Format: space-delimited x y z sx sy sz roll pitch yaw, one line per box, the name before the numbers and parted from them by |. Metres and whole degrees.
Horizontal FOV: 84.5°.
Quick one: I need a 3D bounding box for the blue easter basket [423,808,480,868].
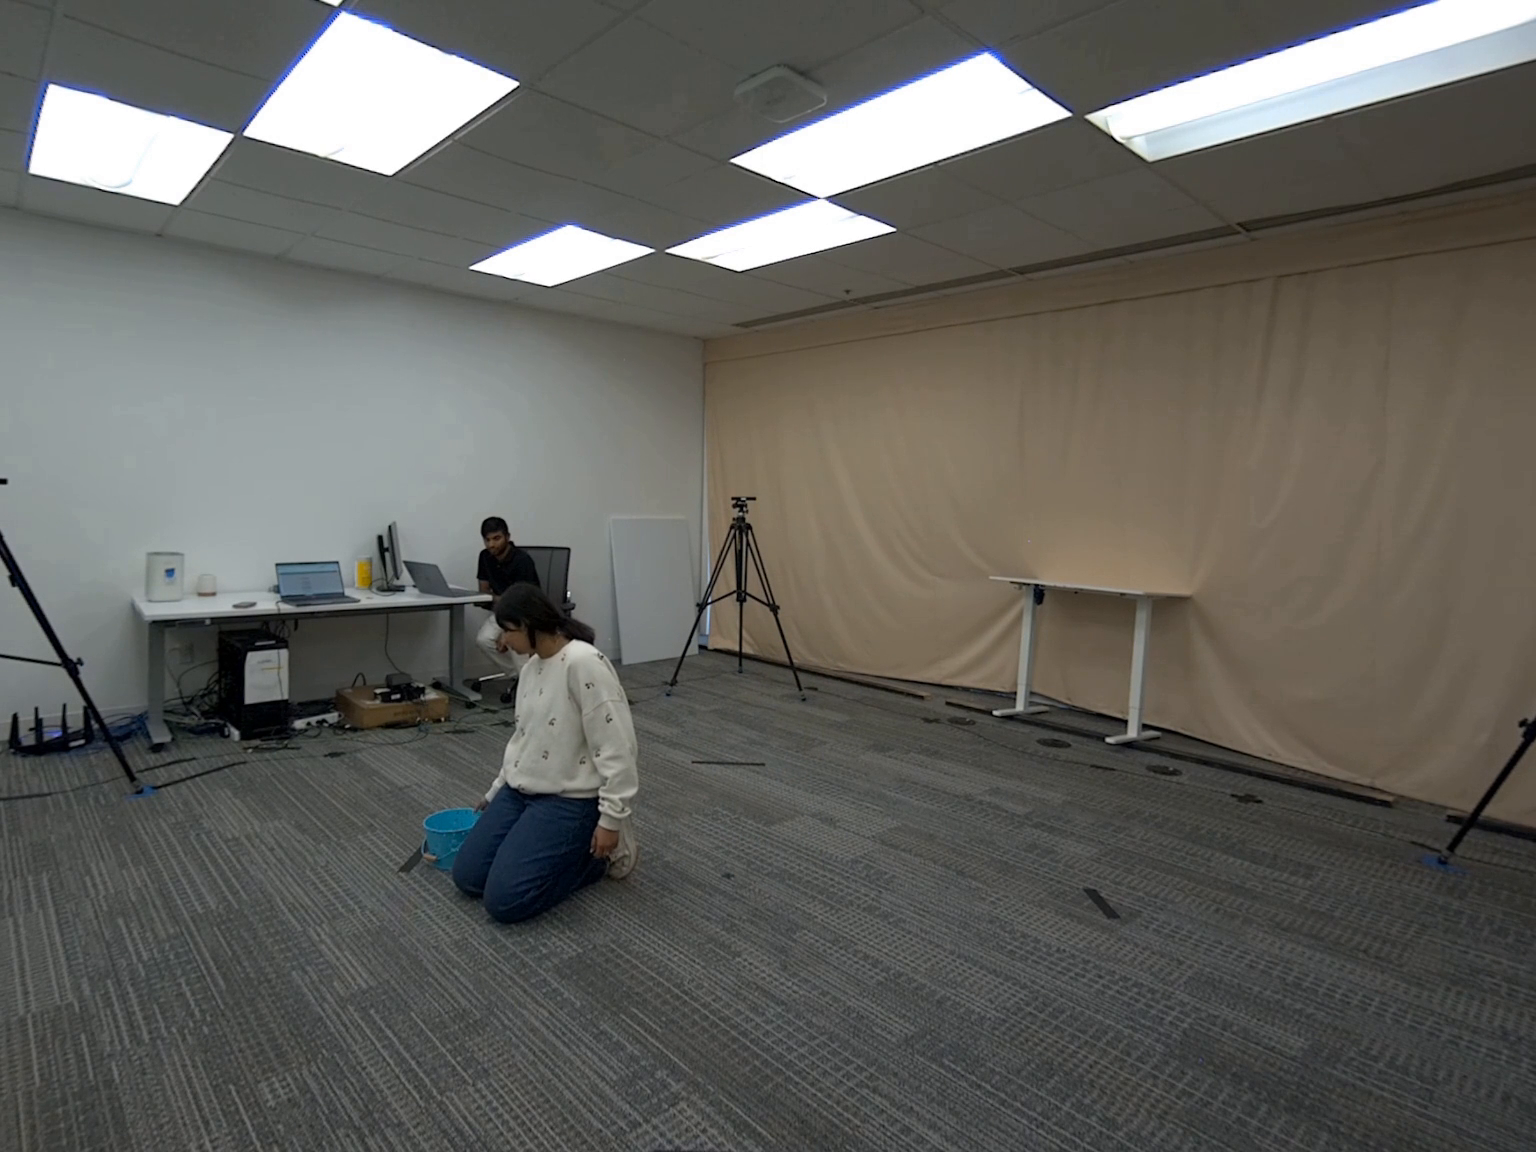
blue easter basket | -1.180 0.994 3.203 0.243 0.155 0.244 2 4 -2
